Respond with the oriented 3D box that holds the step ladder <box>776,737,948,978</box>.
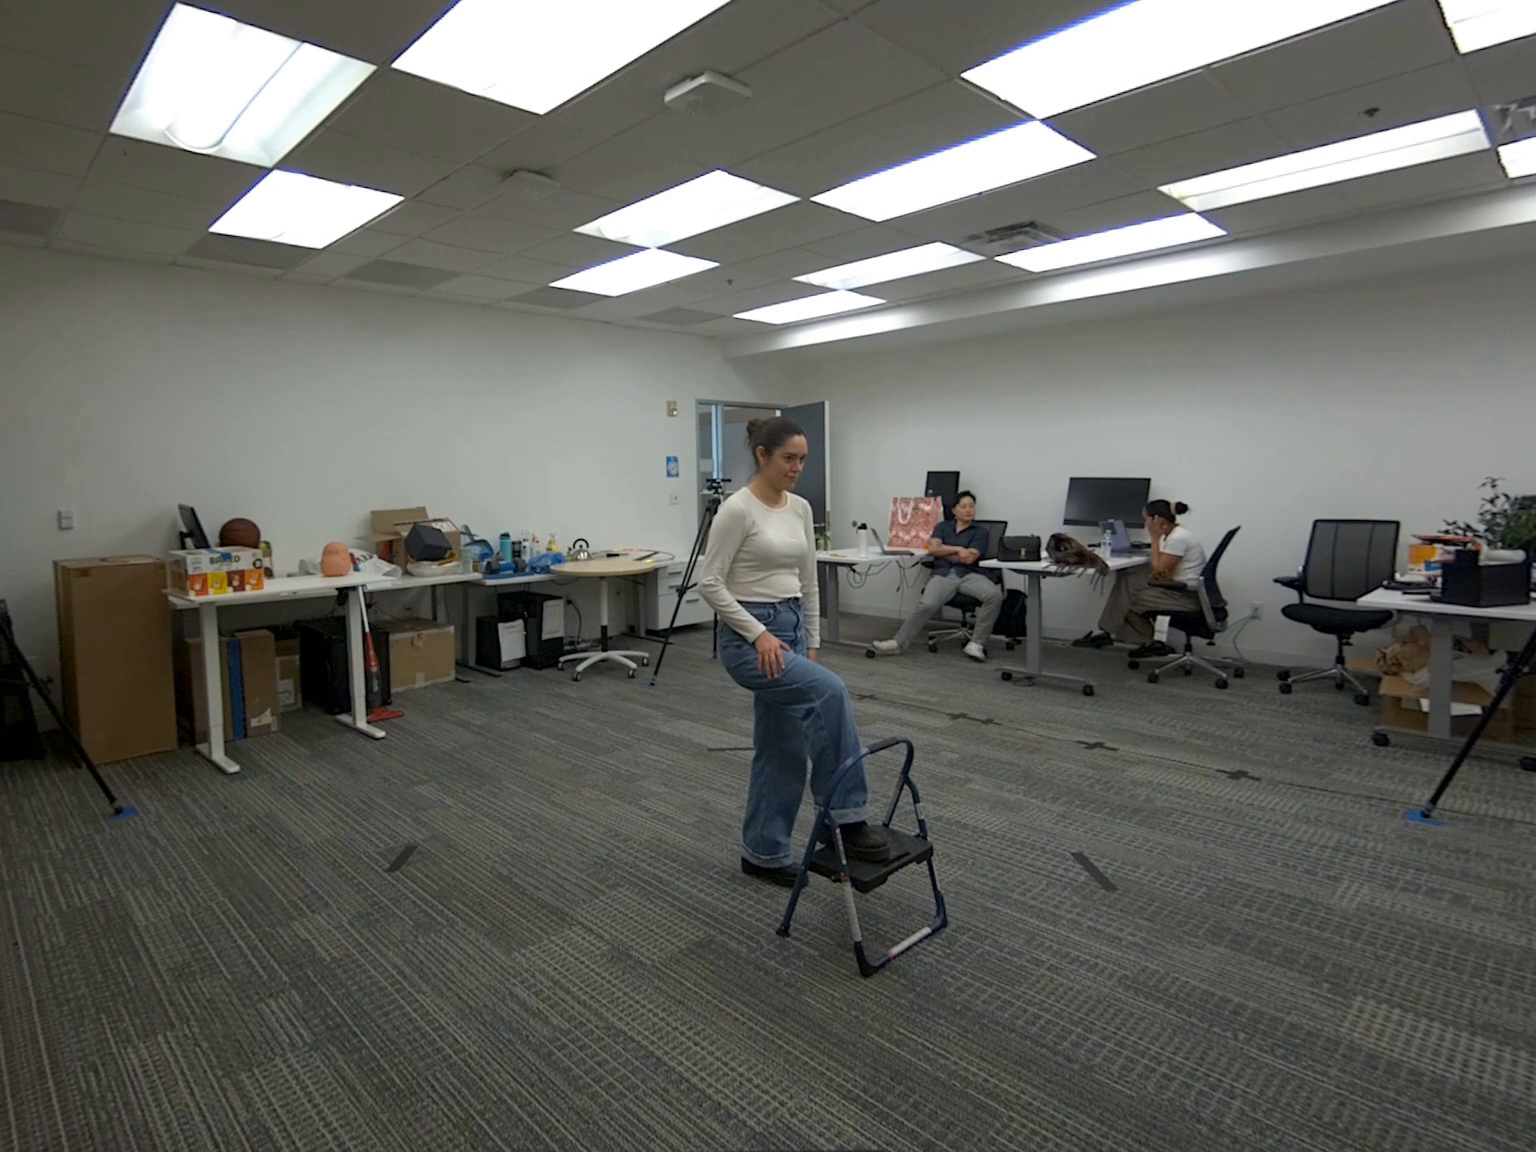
[{"bbox_3d":[0.294,0.793,2.622,0.360,0.603,0.419,4,7,44],"label":"step ladder"}]
